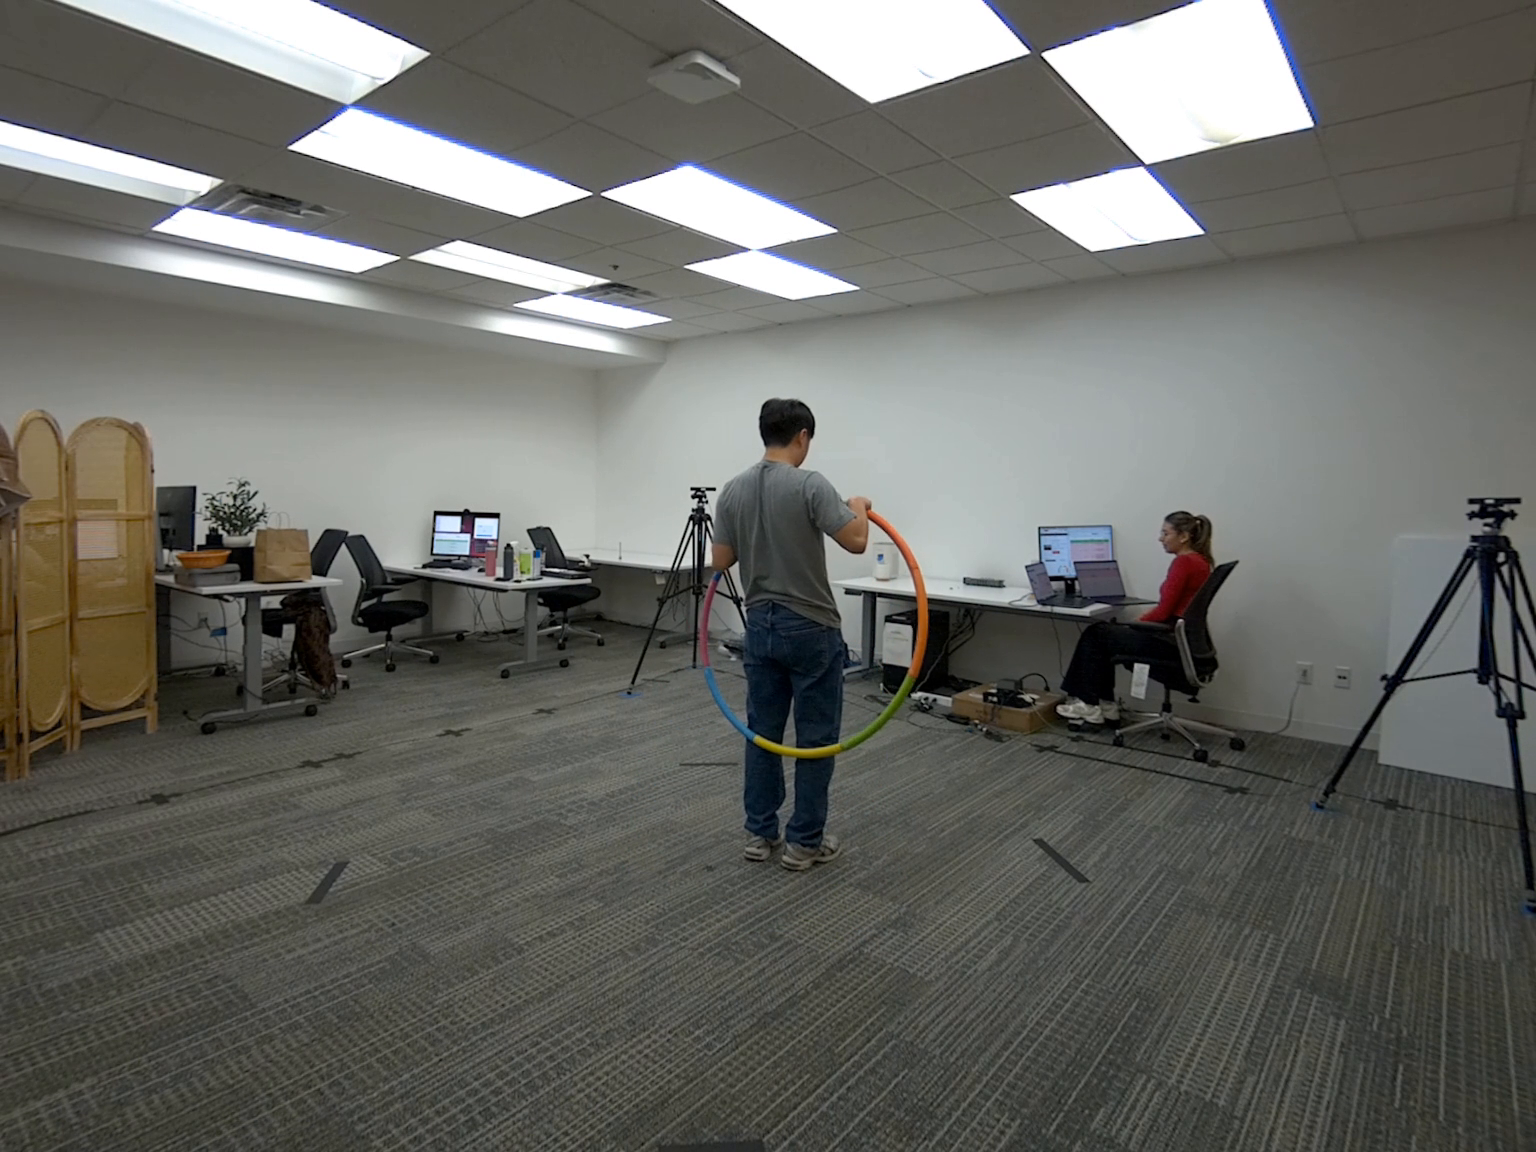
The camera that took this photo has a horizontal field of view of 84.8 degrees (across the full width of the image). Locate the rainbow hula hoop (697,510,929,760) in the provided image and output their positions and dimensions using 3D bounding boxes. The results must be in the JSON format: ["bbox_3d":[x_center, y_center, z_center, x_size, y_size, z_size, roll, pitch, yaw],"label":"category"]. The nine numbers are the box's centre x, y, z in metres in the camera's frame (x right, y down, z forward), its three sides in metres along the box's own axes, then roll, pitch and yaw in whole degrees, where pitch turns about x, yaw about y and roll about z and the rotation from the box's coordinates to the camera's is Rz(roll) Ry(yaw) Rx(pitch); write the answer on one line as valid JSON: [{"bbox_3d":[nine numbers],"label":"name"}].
[{"bbox_3d":[0.128,0.165,3.229,1.011,0.986,0.034,4,-12,36],"label":"rainbow hula hoop"}]
